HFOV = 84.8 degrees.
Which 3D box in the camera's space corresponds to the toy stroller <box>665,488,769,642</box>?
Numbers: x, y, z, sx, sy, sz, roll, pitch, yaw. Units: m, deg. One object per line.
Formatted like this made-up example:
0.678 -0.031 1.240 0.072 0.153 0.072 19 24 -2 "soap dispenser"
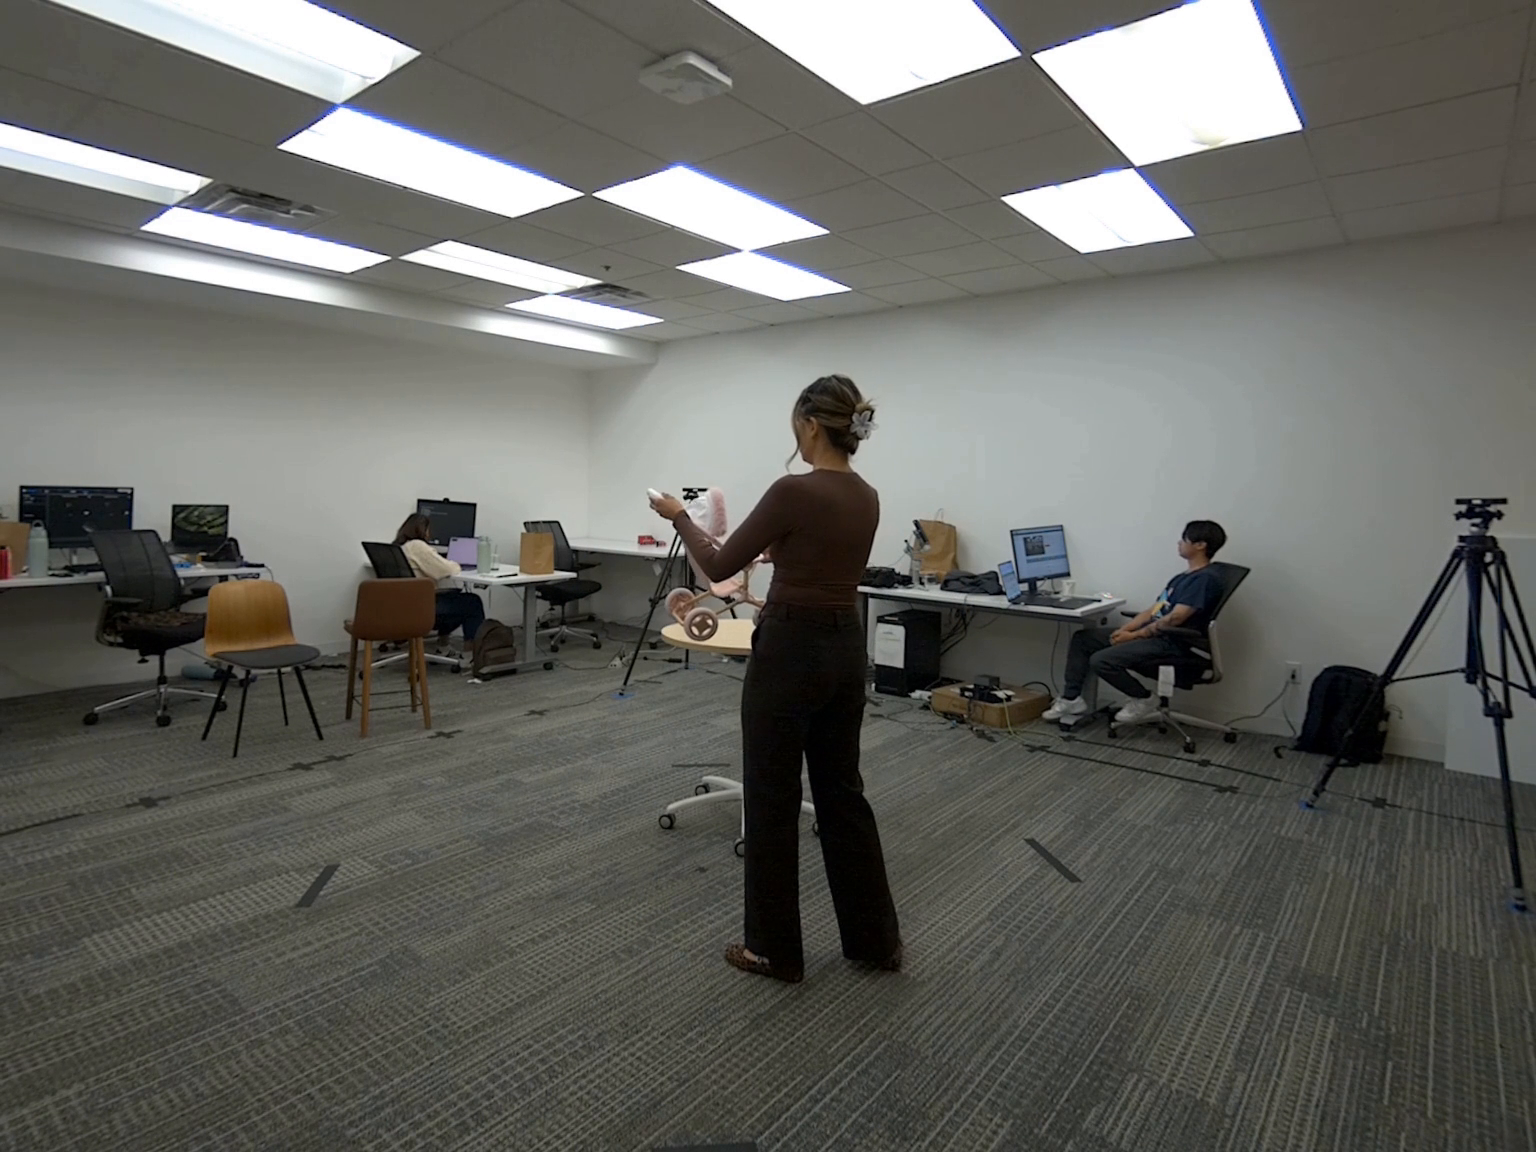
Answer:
-0.174 -0.051 2.762 0.338 0.527 0.288 -12 14 -11 "toy stroller"
